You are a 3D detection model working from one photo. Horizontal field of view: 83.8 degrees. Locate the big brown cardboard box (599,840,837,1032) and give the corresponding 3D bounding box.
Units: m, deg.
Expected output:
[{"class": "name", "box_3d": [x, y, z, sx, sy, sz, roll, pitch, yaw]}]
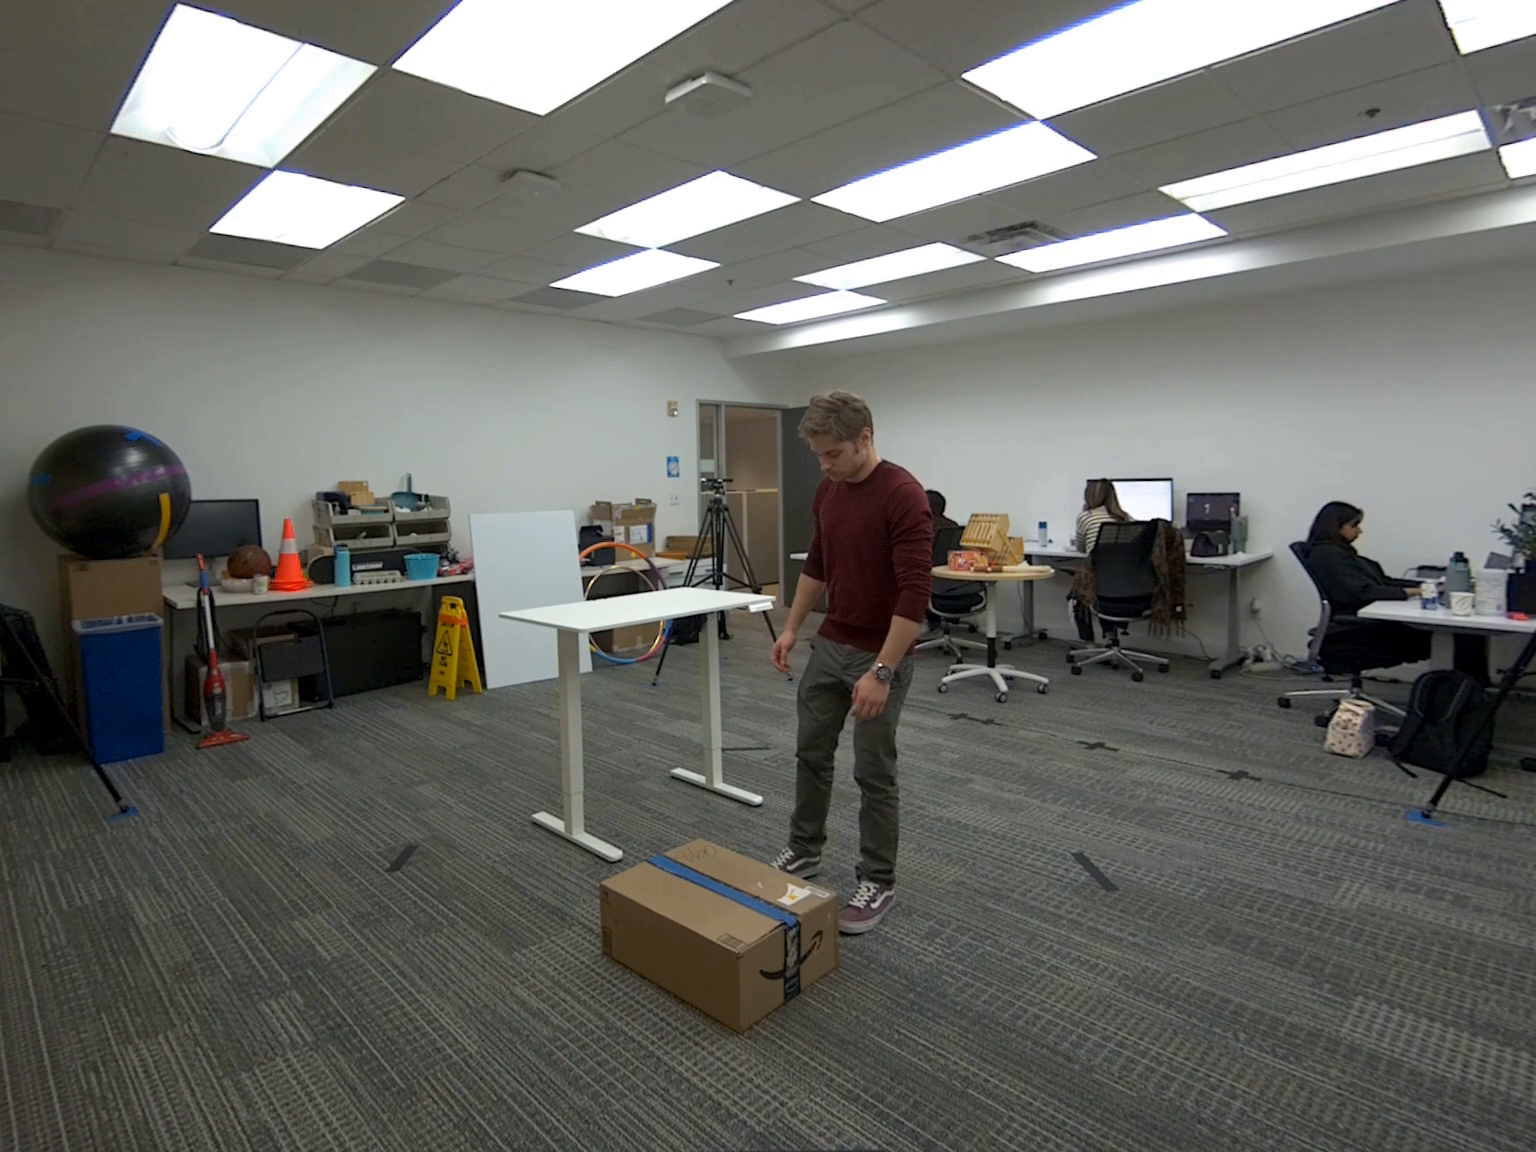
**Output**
[{"class": "big brown cardboard box", "box_3d": [-0.143, 1.012, 2.478, 0.607, 0.232, 0.407, 4, 8, 42]}]
